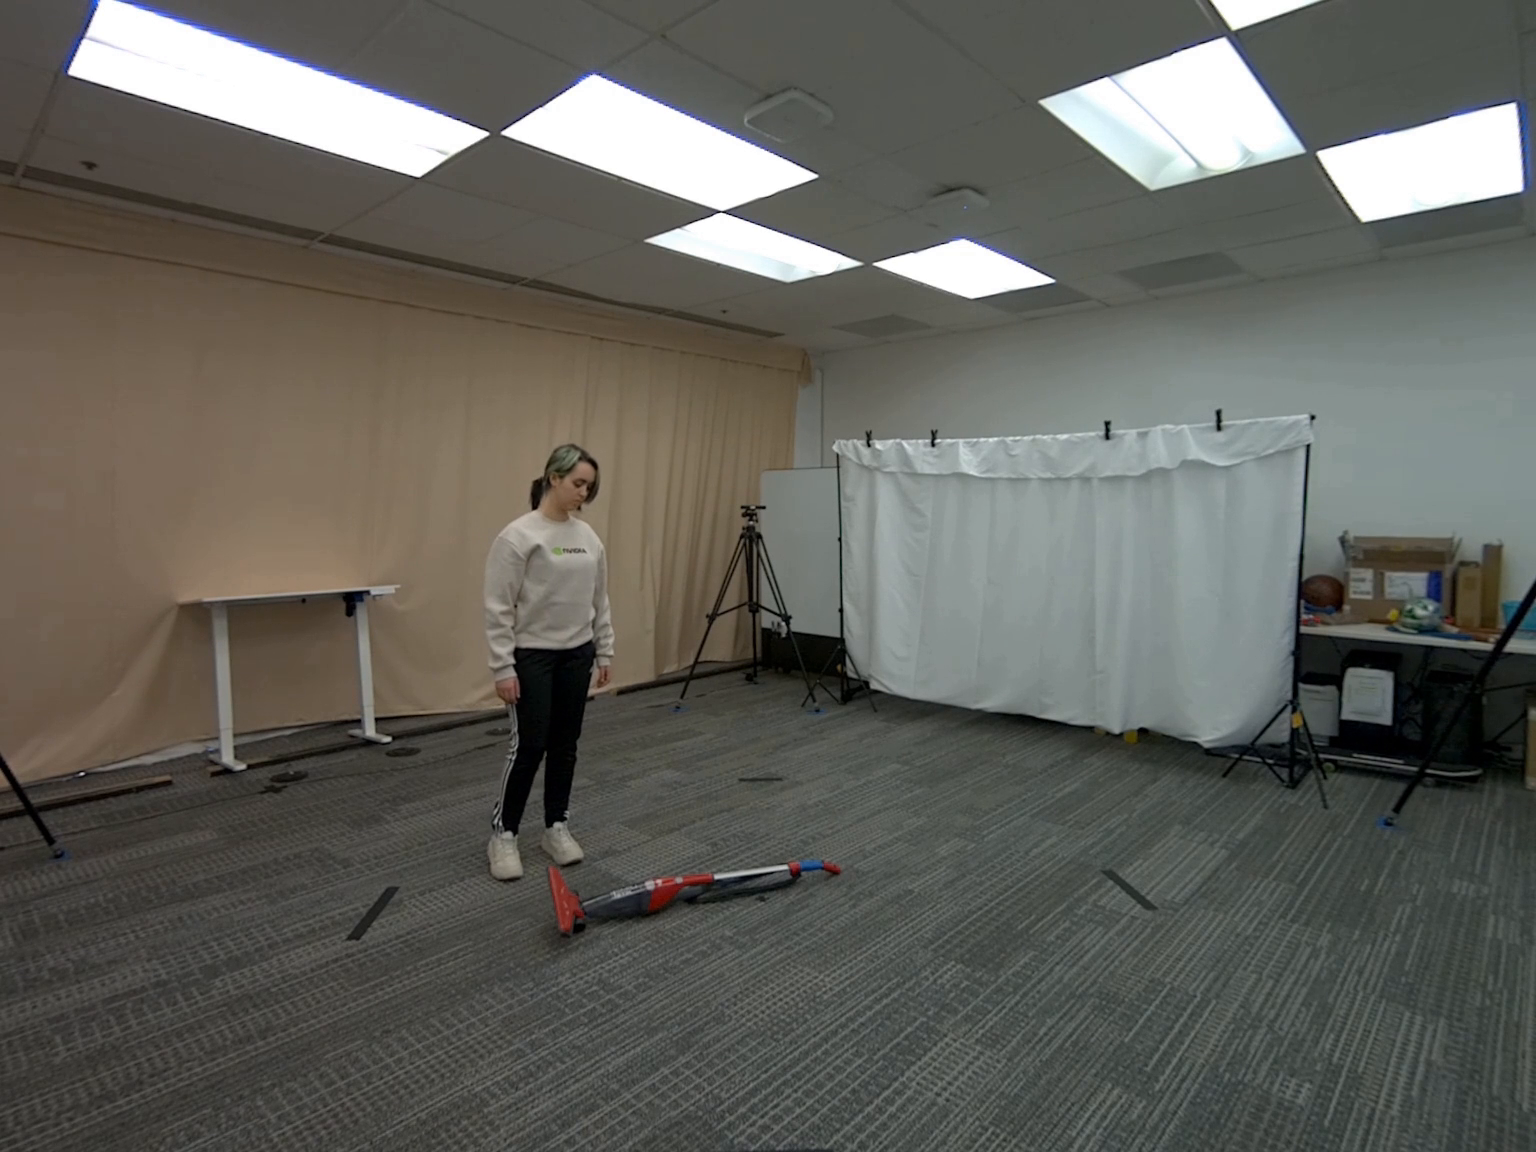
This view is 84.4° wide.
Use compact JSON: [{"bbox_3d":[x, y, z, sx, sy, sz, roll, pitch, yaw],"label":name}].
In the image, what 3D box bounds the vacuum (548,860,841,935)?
[{"bbox_3d":[-0.207,1.097,2.970,1.024,0.143,0.260,2,34,-24],"label":"vacuum"}]
